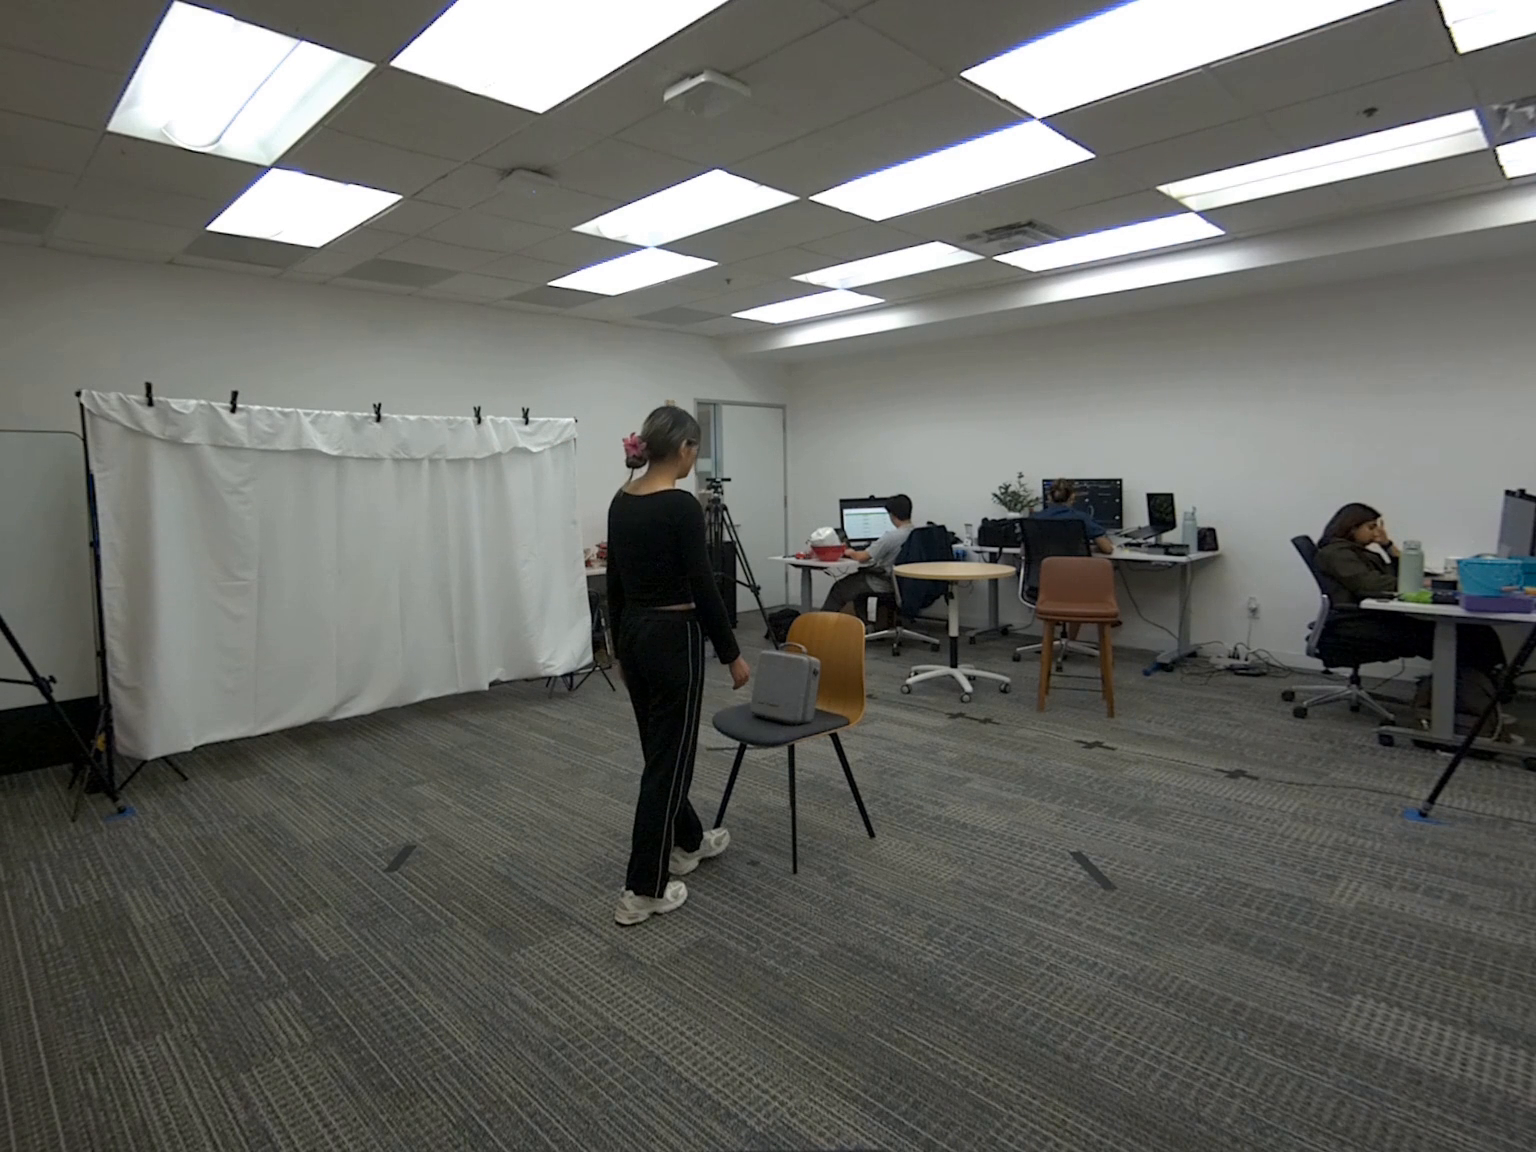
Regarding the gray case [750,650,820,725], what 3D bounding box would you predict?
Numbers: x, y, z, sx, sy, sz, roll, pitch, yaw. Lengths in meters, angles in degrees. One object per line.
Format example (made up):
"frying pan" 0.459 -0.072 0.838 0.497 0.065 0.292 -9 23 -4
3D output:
"gray case" 0.073 0.412 3.248 0.265 0.262 0.101 3 -8 45
